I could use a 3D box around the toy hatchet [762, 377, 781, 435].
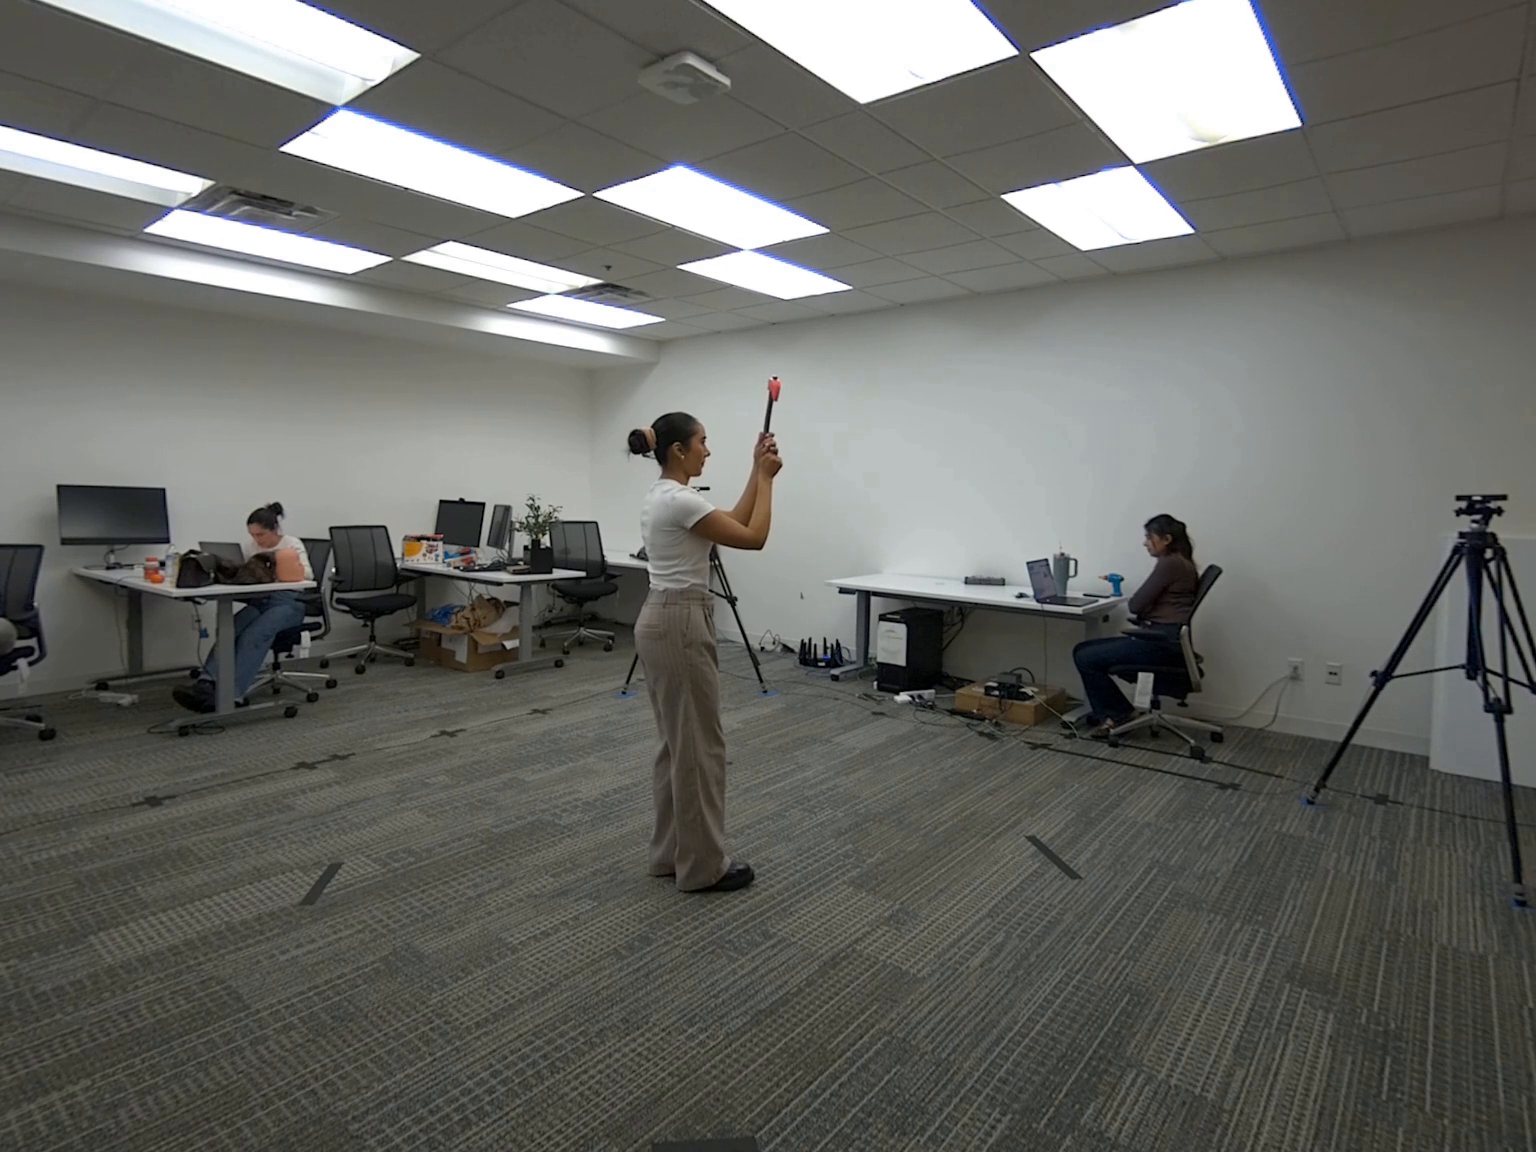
[{"bbox_3d":[0.001,-0.572,2.968,0.029,0.270,0.134,8,0,-21],"label":"toy hatchet"}]
